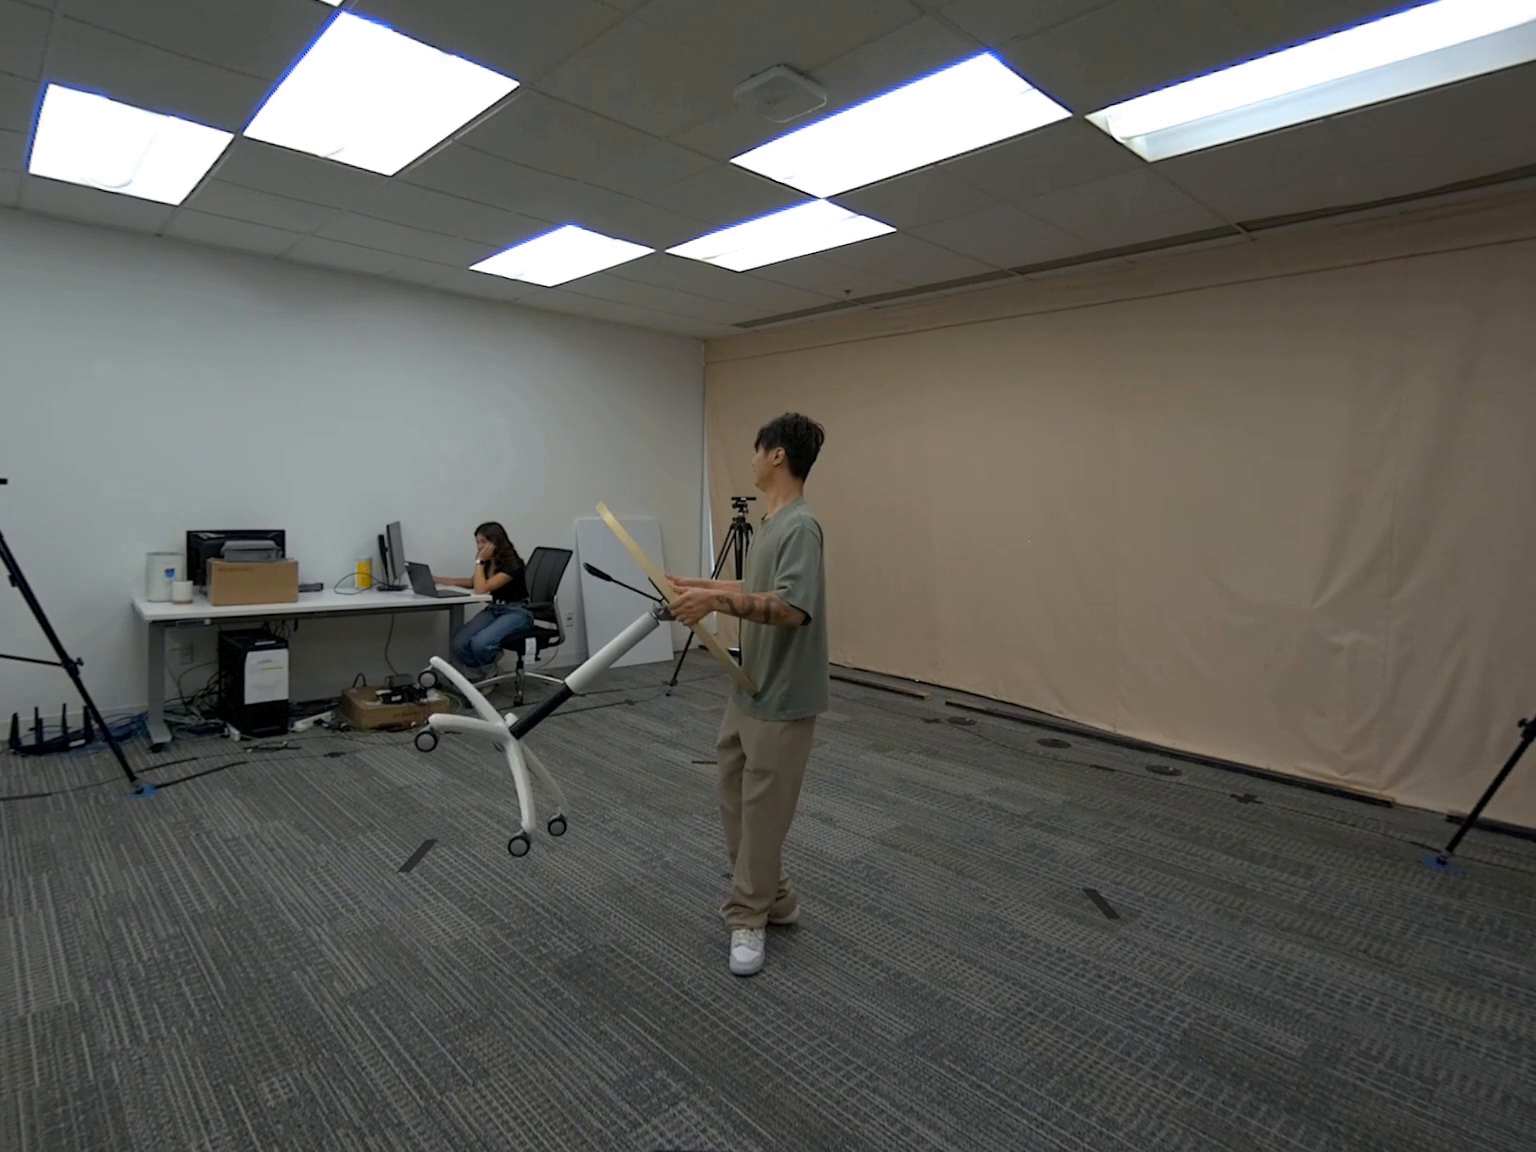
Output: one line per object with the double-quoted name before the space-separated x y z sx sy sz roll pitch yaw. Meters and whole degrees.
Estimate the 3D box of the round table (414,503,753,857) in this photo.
"round table" -0.582 0.323 2.614 0.786 0.778 0.793 -39 9 -4
